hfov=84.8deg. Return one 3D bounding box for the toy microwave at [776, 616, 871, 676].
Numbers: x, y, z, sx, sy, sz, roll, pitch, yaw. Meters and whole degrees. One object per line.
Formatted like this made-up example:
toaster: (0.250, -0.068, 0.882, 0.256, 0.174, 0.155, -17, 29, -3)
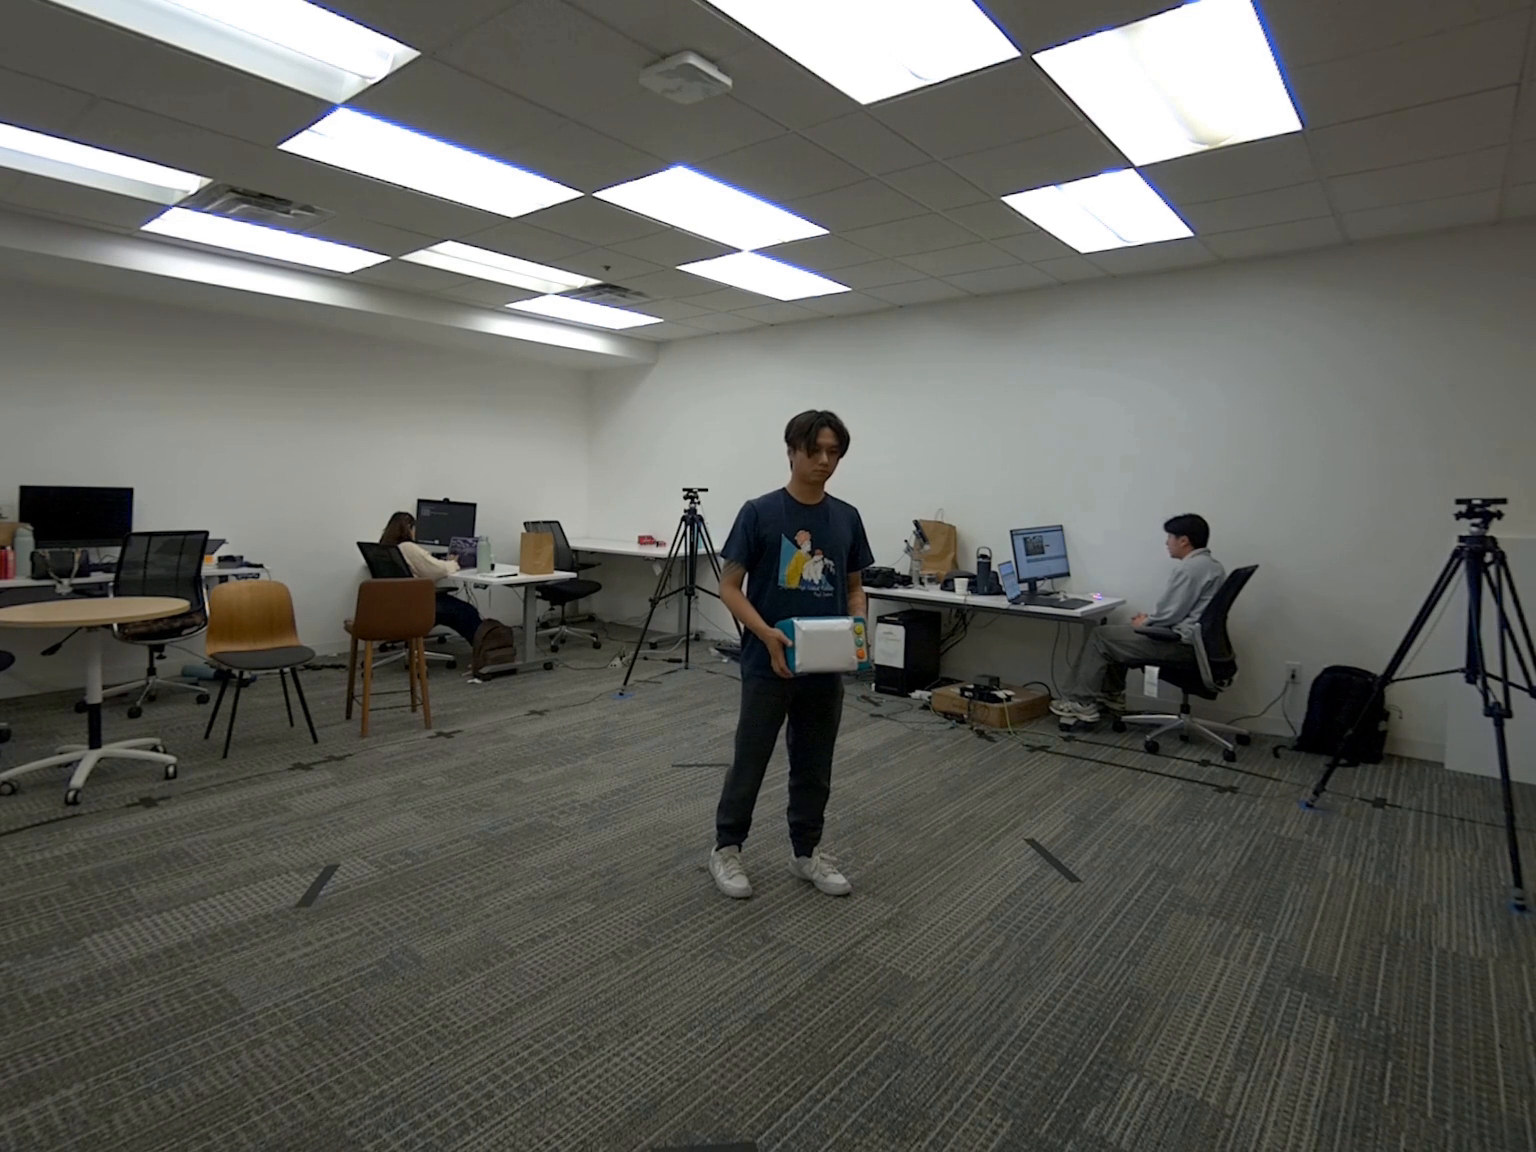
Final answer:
toy microwave: (0.169, 0.225, 2.761, 0.280, 0.186, 0.154, 0, -9, -20)
